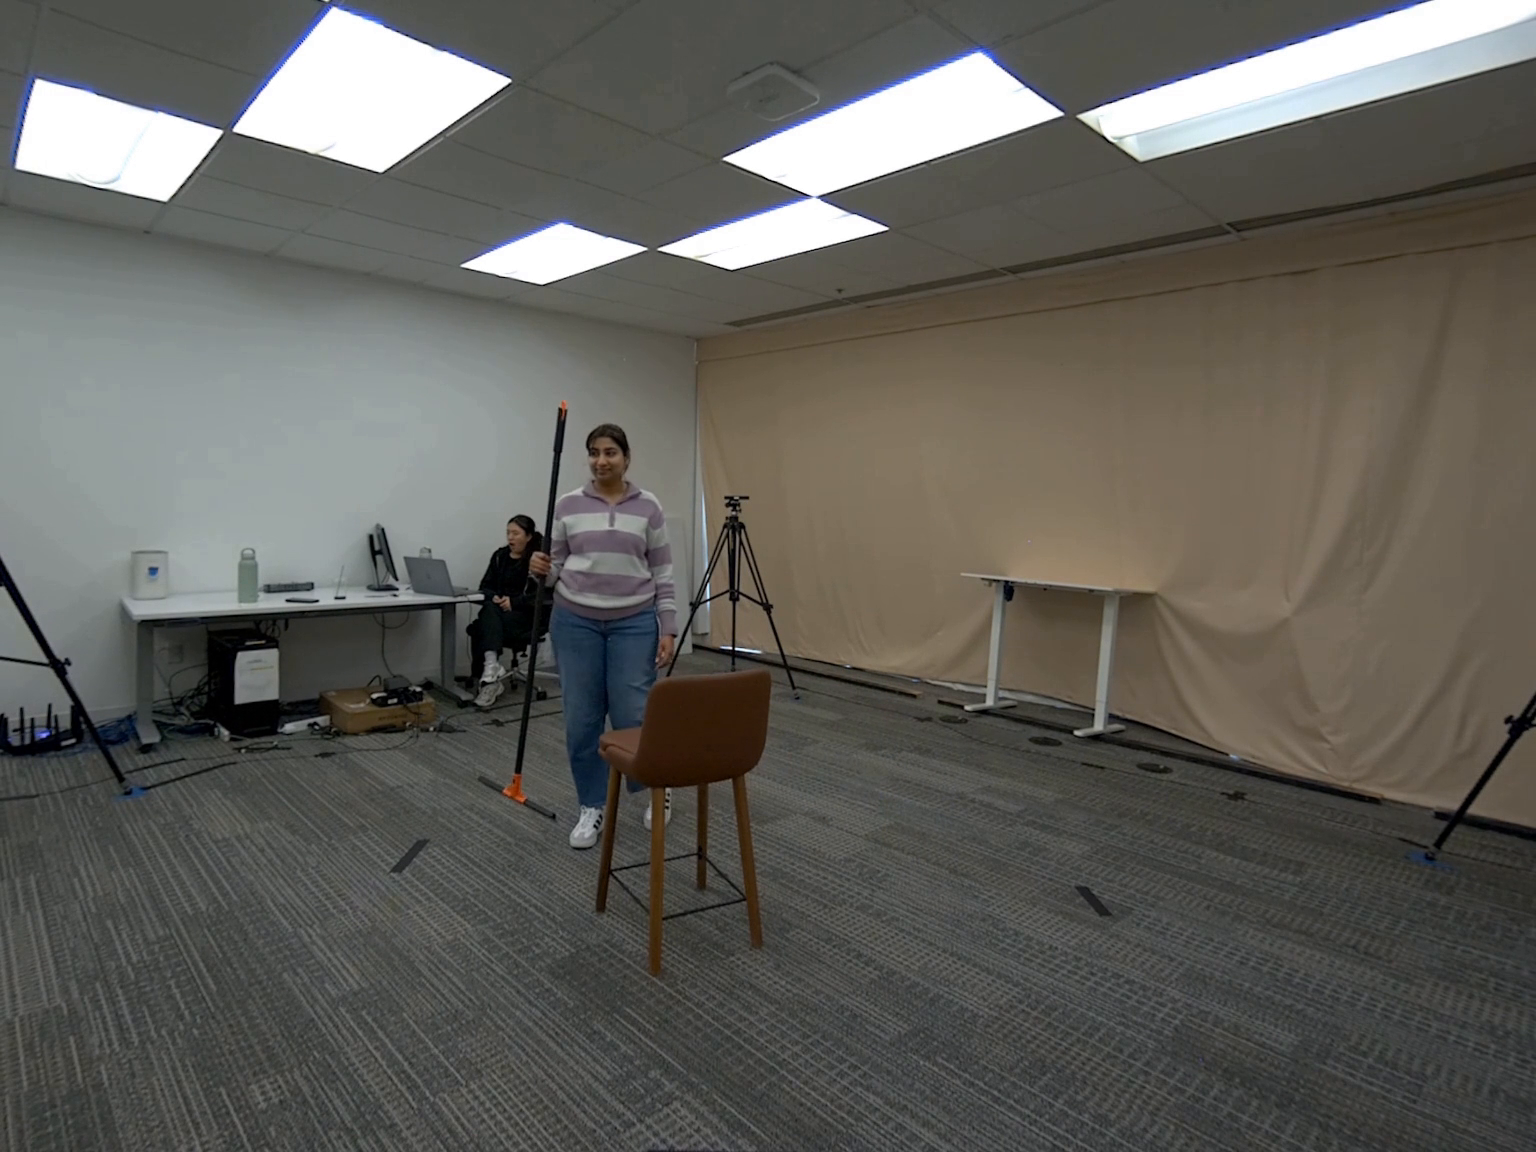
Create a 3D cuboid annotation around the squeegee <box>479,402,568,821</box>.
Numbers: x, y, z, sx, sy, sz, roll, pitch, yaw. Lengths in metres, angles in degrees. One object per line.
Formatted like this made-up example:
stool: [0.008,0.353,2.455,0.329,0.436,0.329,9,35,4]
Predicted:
squeegee: [-0.875,0.121,3.165,0.449,1.533,0.052,11,6,39]
